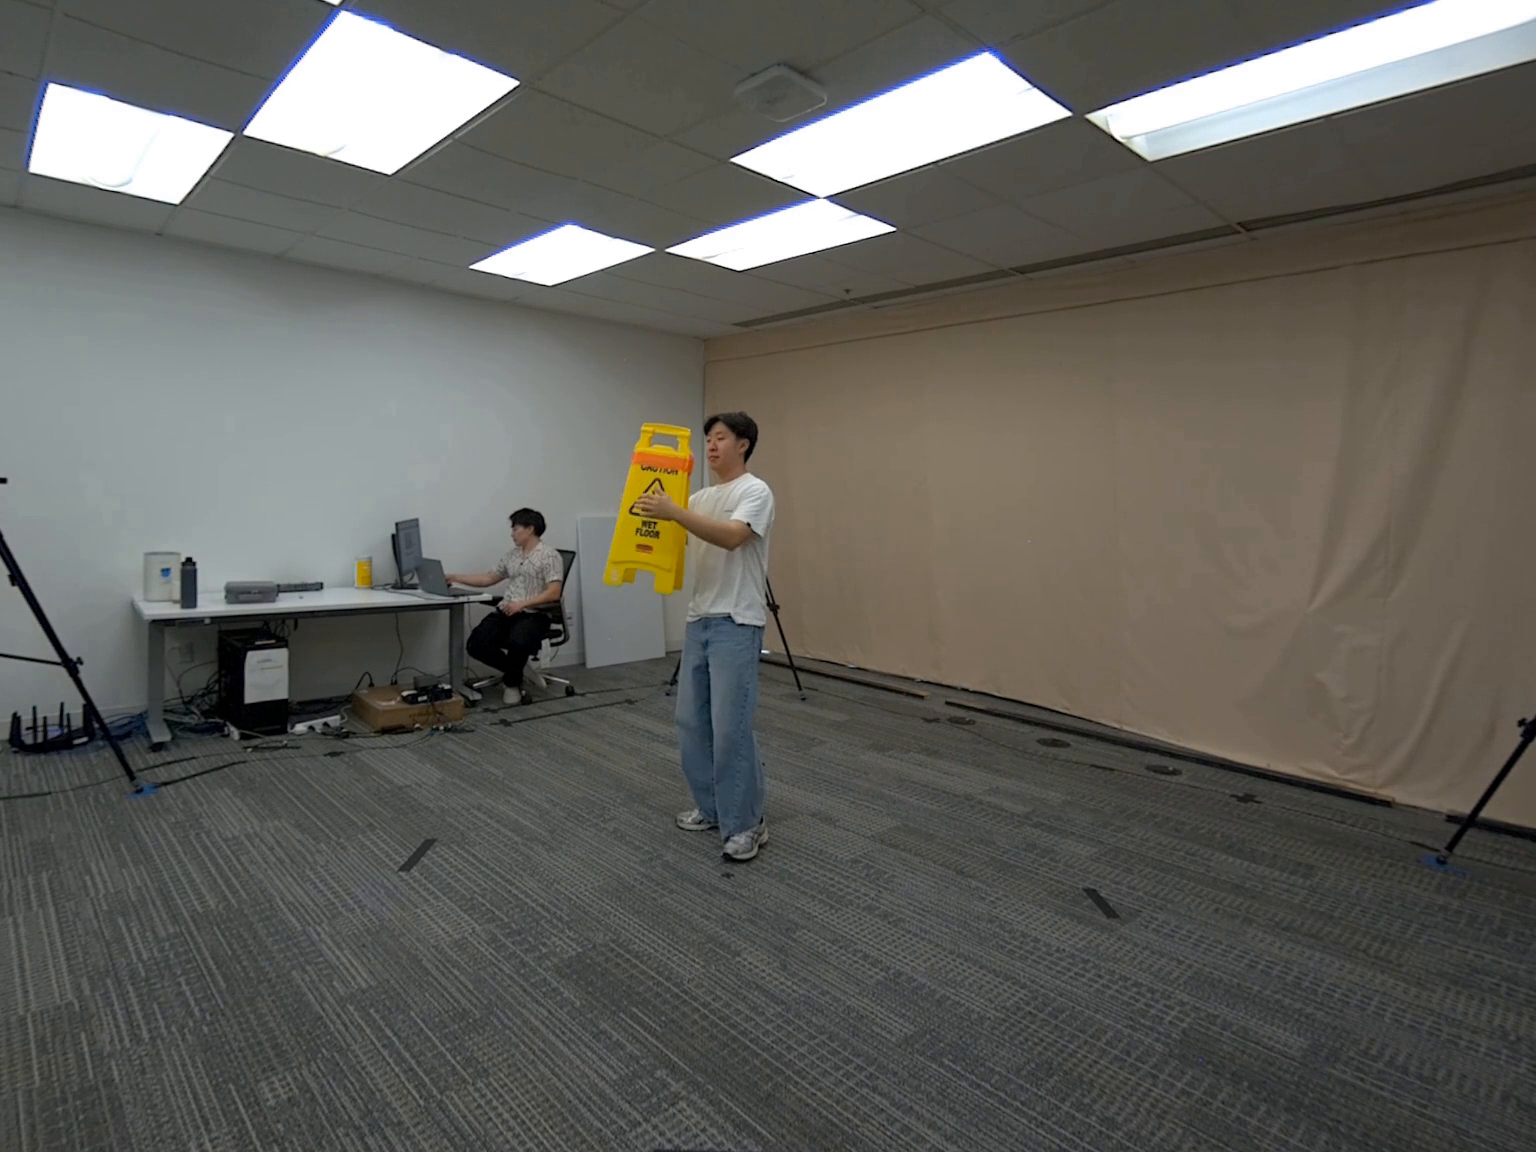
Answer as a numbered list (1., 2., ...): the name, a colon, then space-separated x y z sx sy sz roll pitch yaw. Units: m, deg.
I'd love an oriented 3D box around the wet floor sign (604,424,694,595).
1. wet floor sign: -0.458 -0.278 3.354 0.283 0.646 0.289 8 0 2
